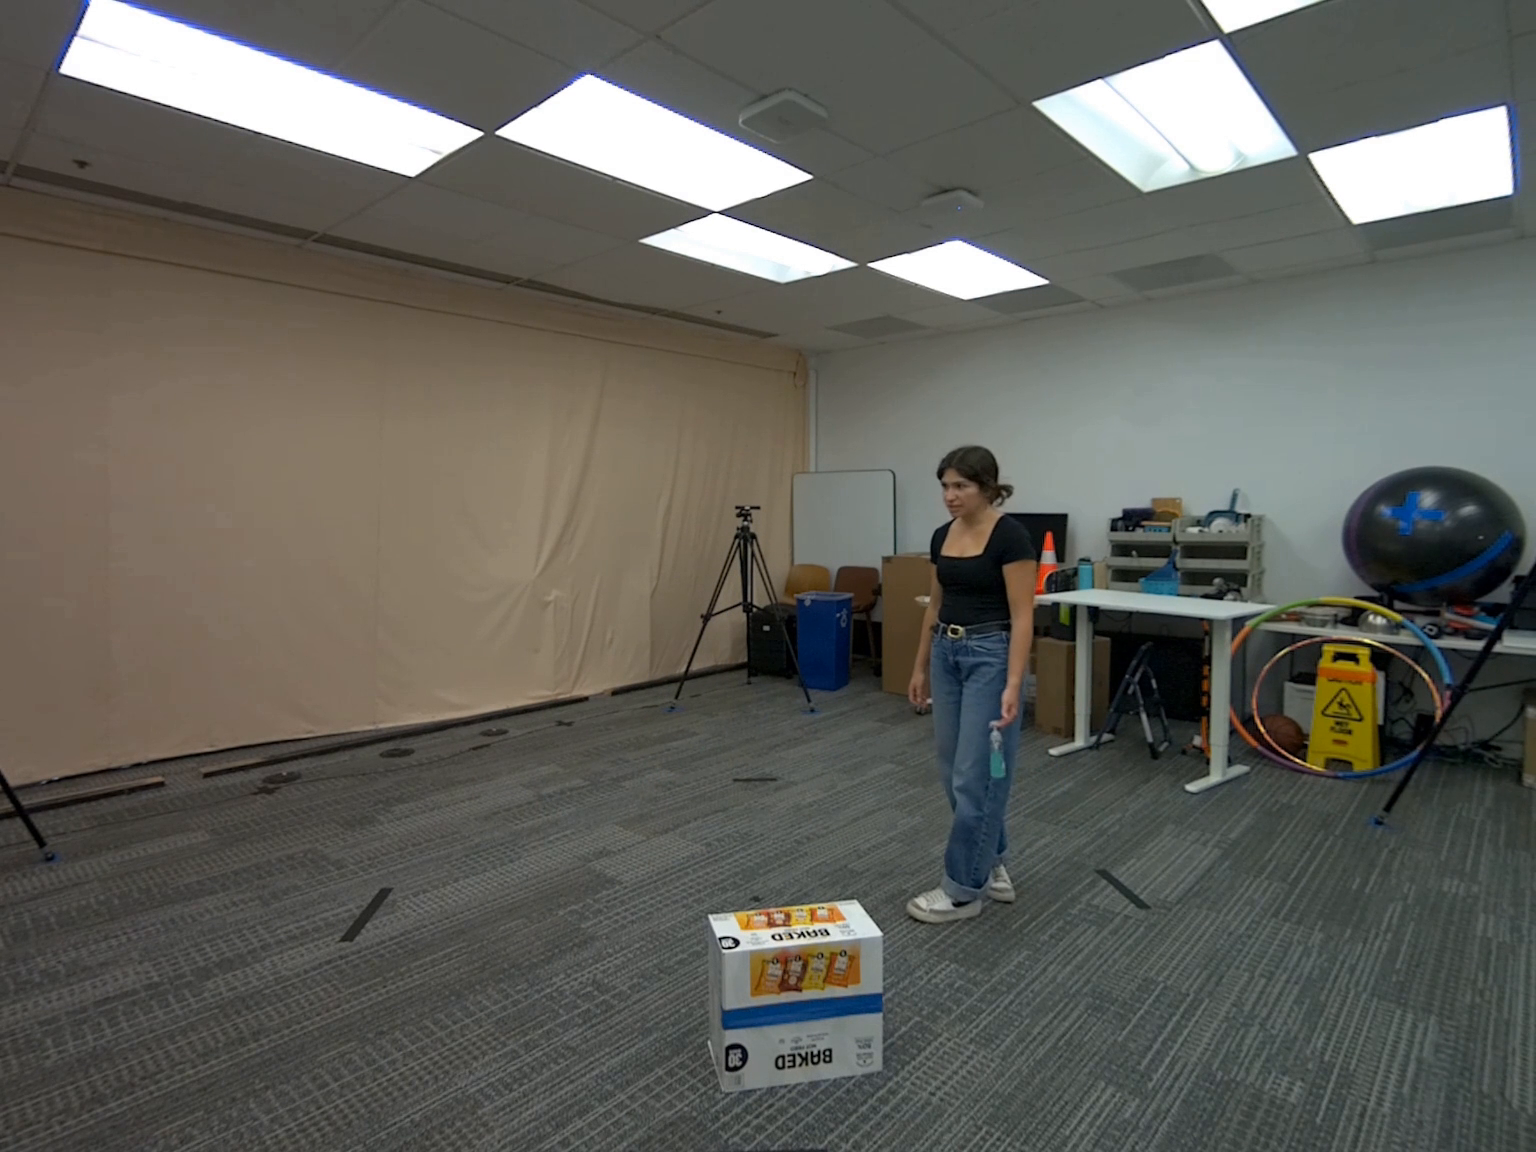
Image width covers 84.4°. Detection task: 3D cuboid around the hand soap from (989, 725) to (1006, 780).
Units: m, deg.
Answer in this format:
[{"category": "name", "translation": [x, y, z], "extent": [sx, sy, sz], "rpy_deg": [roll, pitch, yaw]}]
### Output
[{"category": "hand soap", "translation": [0.720, 0.536, 2.620], "extent": [0.044, 0.168, 0.084], "rpy_deg": [1, 2, 6]}]
